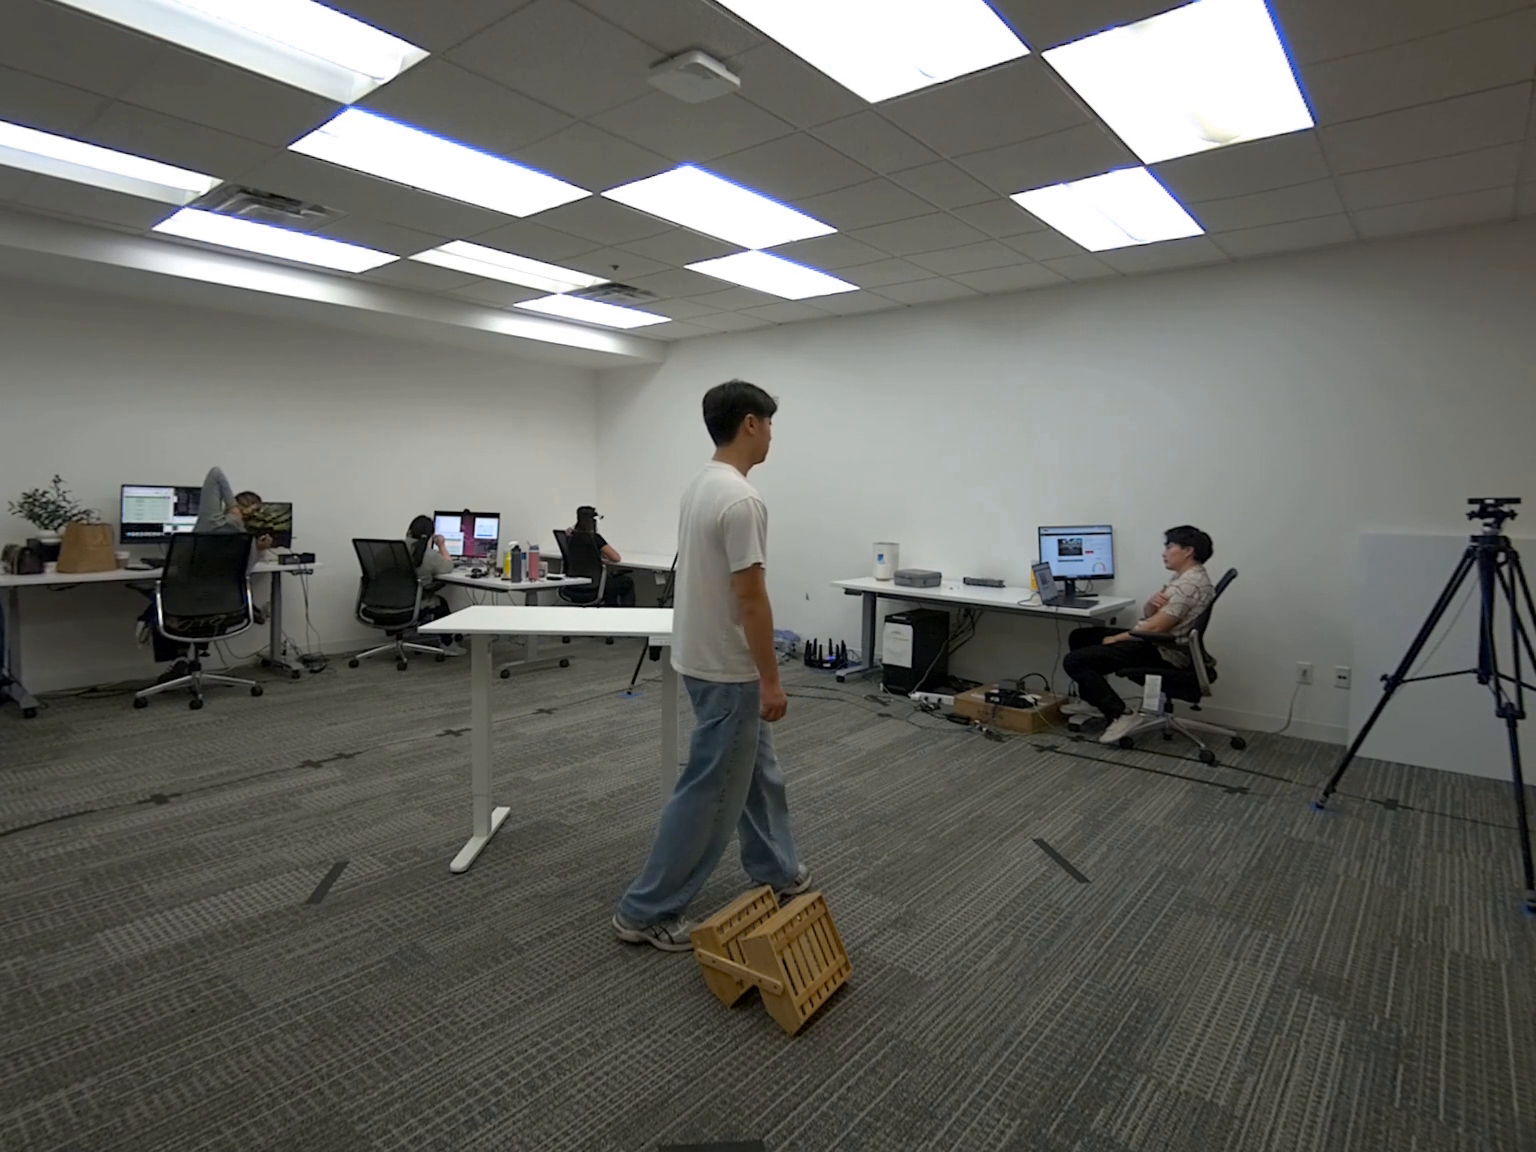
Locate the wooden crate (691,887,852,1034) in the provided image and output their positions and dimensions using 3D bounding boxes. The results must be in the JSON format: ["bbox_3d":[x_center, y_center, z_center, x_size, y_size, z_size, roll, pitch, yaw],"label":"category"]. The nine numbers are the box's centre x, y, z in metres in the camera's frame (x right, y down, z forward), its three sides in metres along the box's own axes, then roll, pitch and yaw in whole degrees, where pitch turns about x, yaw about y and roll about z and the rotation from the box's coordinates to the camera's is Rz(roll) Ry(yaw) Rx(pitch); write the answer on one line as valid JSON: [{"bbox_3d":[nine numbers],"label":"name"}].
[{"bbox_3d":[0.005,1.056,2.368,0.276,0.307,0.315,-29,-13,31],"label":"wooden crate"}]
